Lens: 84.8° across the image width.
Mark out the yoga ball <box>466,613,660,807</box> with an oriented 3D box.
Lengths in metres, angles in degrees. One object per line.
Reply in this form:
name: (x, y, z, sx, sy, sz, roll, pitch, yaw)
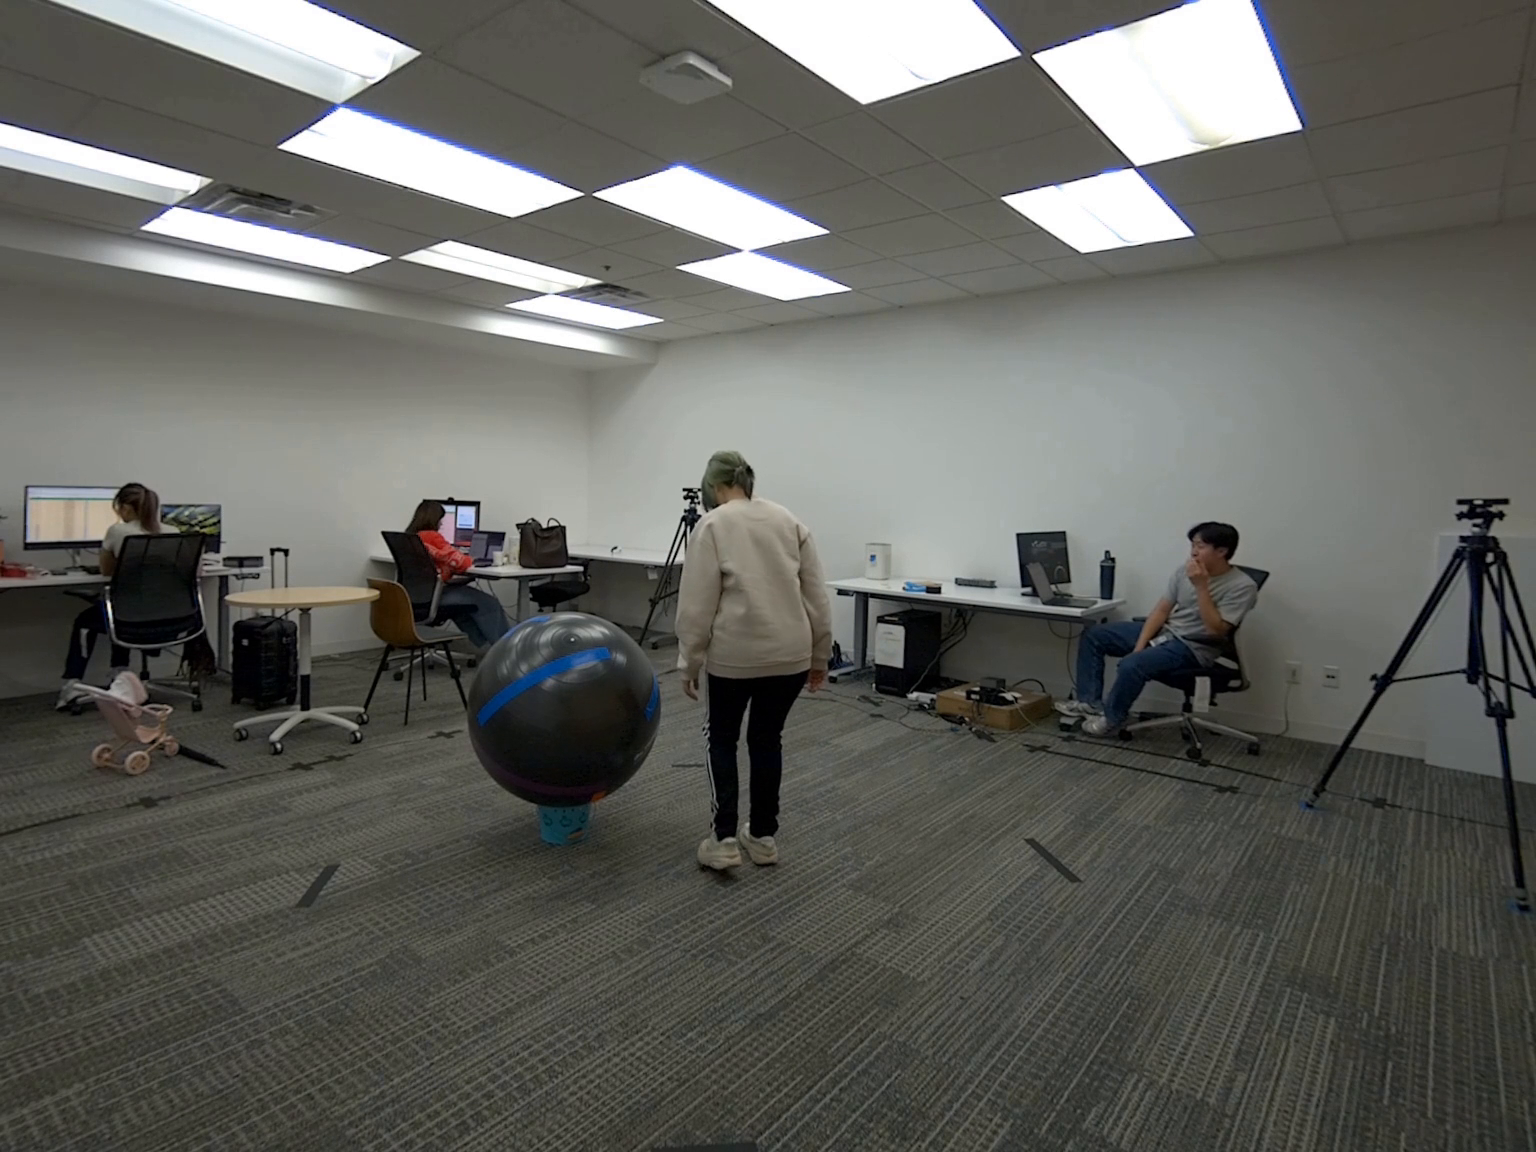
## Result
yoga ball: (-0.817, 0.526, 3.381, 0.757, 0.756, 0.761, 1, 4, -2)
